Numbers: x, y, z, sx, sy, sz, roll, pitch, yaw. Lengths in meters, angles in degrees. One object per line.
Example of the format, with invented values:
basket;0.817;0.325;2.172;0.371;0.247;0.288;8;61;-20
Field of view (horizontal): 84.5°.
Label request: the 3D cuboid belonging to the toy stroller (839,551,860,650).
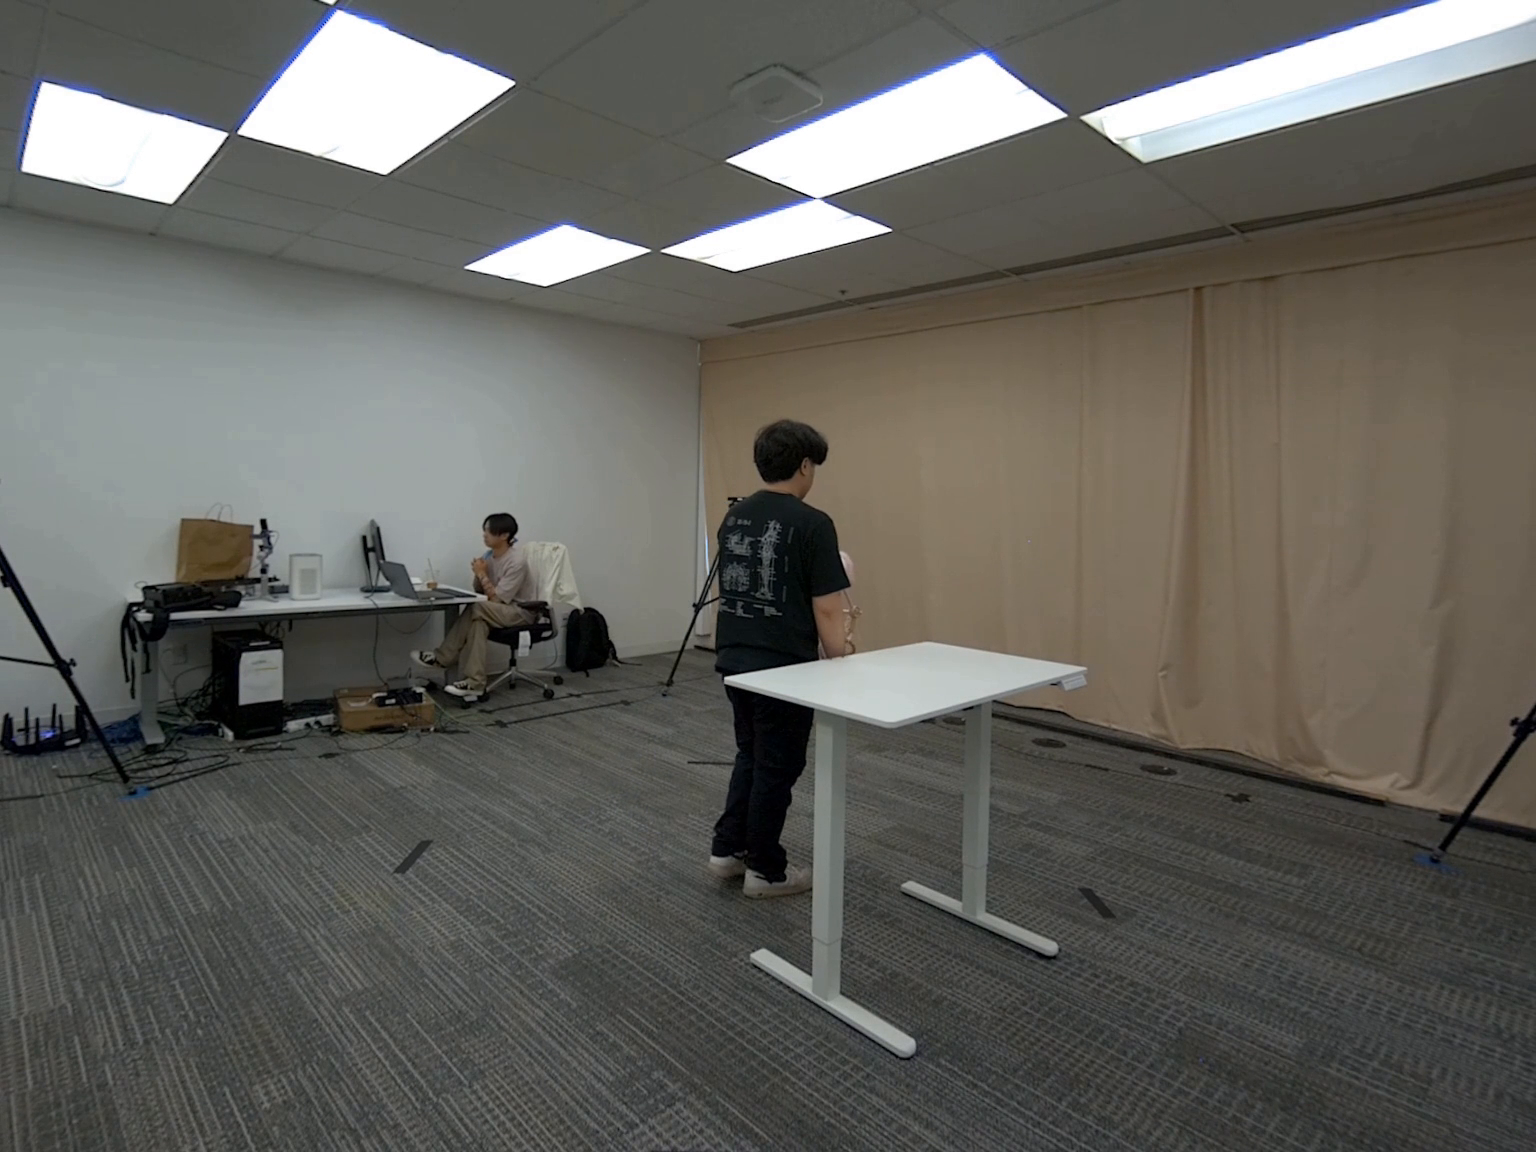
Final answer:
toy stroller;0.234;0.133;3.415;0.332;0.536;0.288;10;-6;-42
